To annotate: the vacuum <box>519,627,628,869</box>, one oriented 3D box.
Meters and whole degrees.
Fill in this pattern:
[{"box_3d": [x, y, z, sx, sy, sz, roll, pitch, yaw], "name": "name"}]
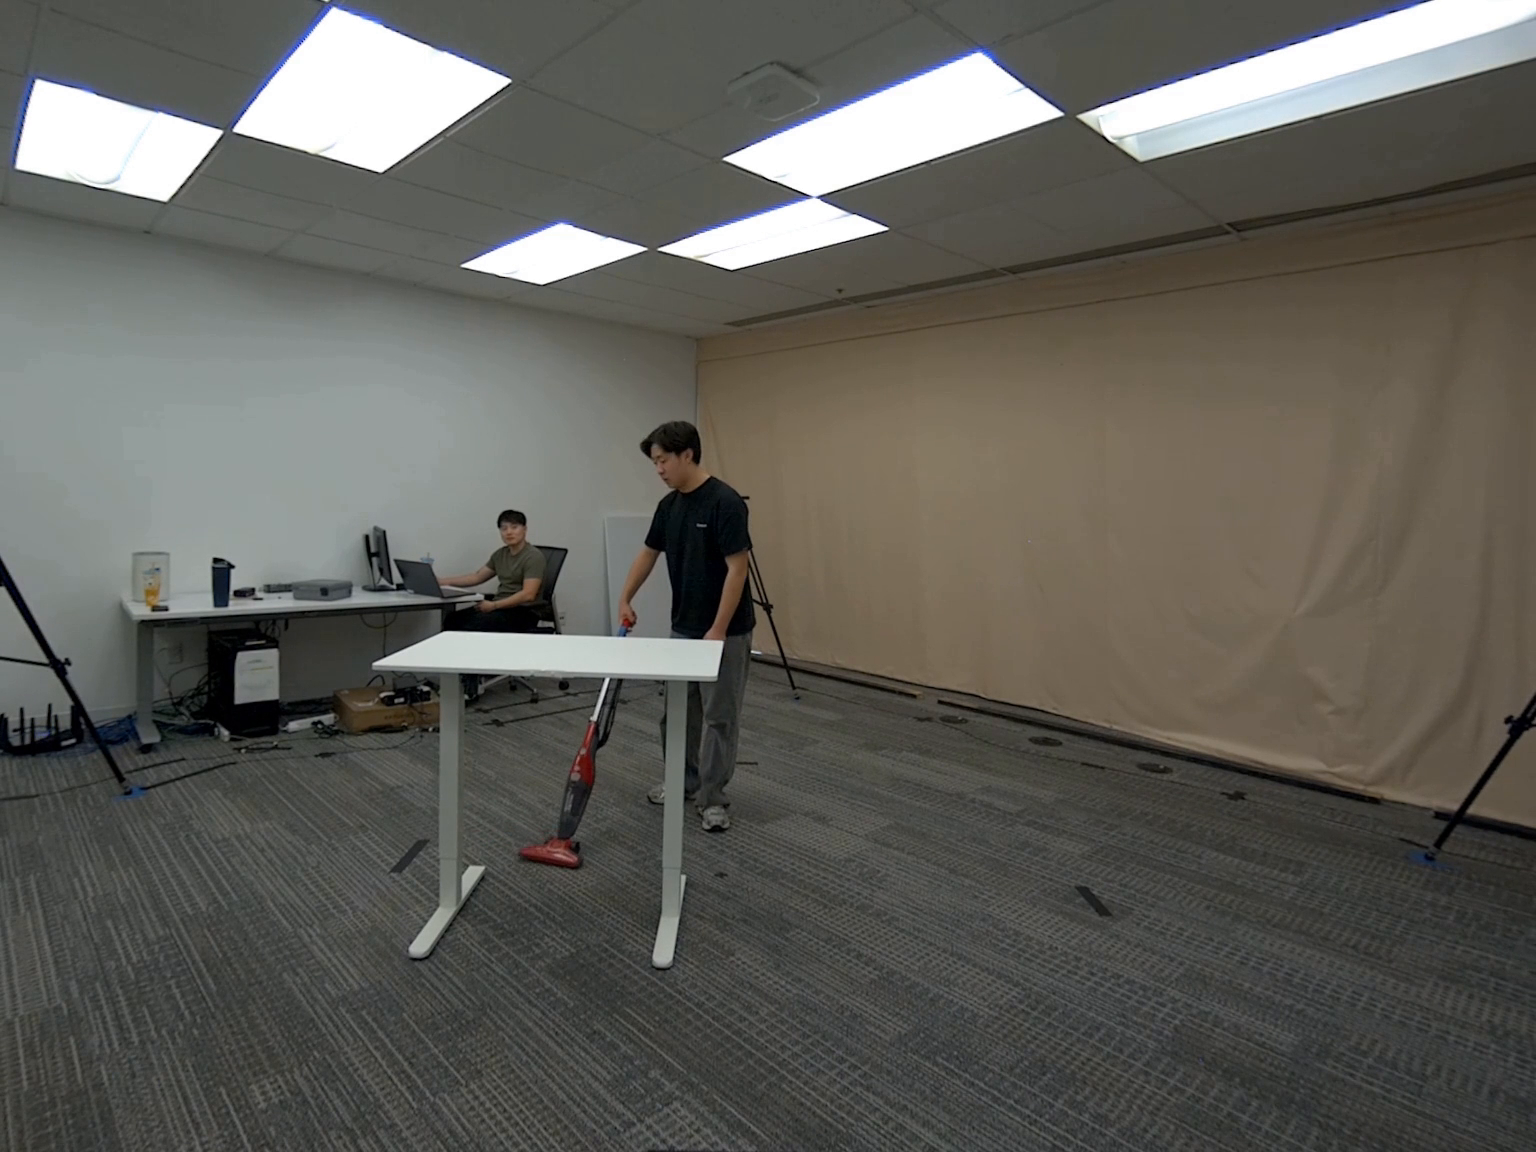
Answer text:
[{"box_3d": [-0.712, 0.624, 3.477, 0.256, 1.064, 0.140, 2, -33, 17], "name": "vacuum"}]
